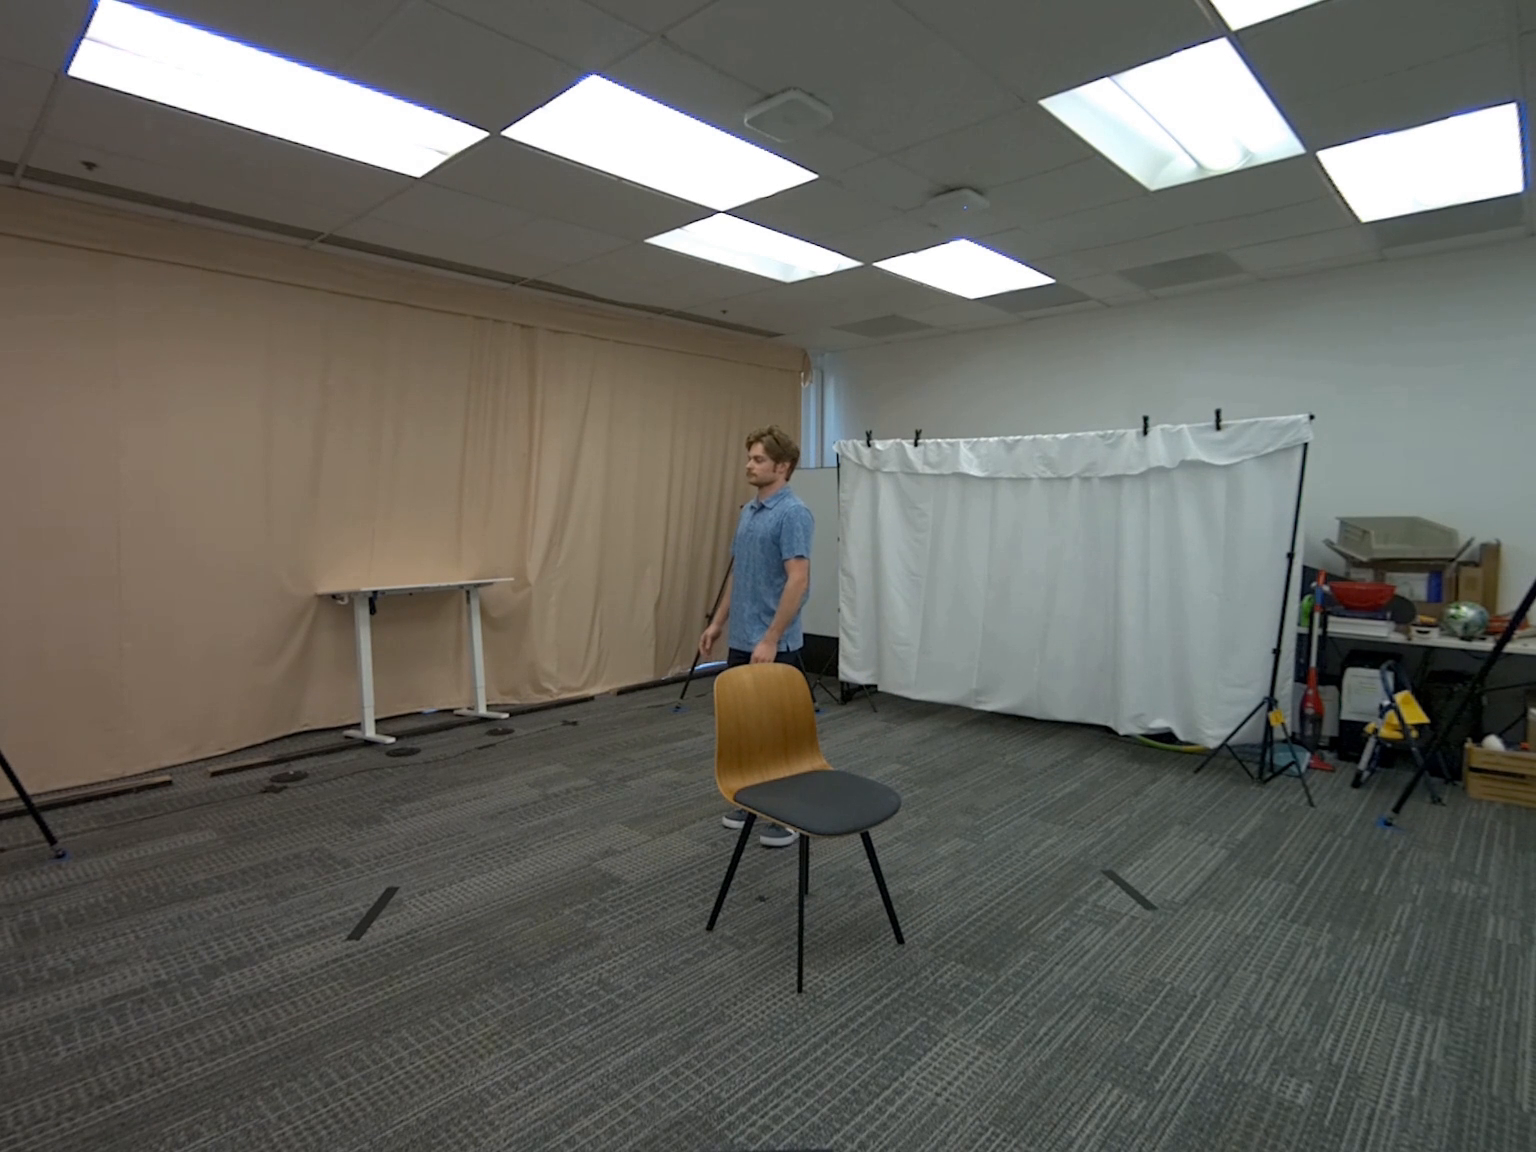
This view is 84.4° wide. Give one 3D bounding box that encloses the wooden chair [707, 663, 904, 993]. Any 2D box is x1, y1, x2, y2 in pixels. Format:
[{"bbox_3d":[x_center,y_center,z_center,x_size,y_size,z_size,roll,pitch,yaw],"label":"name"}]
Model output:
[{"bbox_3d":[0.122,0.740,2.682,0.464,0.878,0.539,-3,0,-39],"label":"wooden chair"}]
